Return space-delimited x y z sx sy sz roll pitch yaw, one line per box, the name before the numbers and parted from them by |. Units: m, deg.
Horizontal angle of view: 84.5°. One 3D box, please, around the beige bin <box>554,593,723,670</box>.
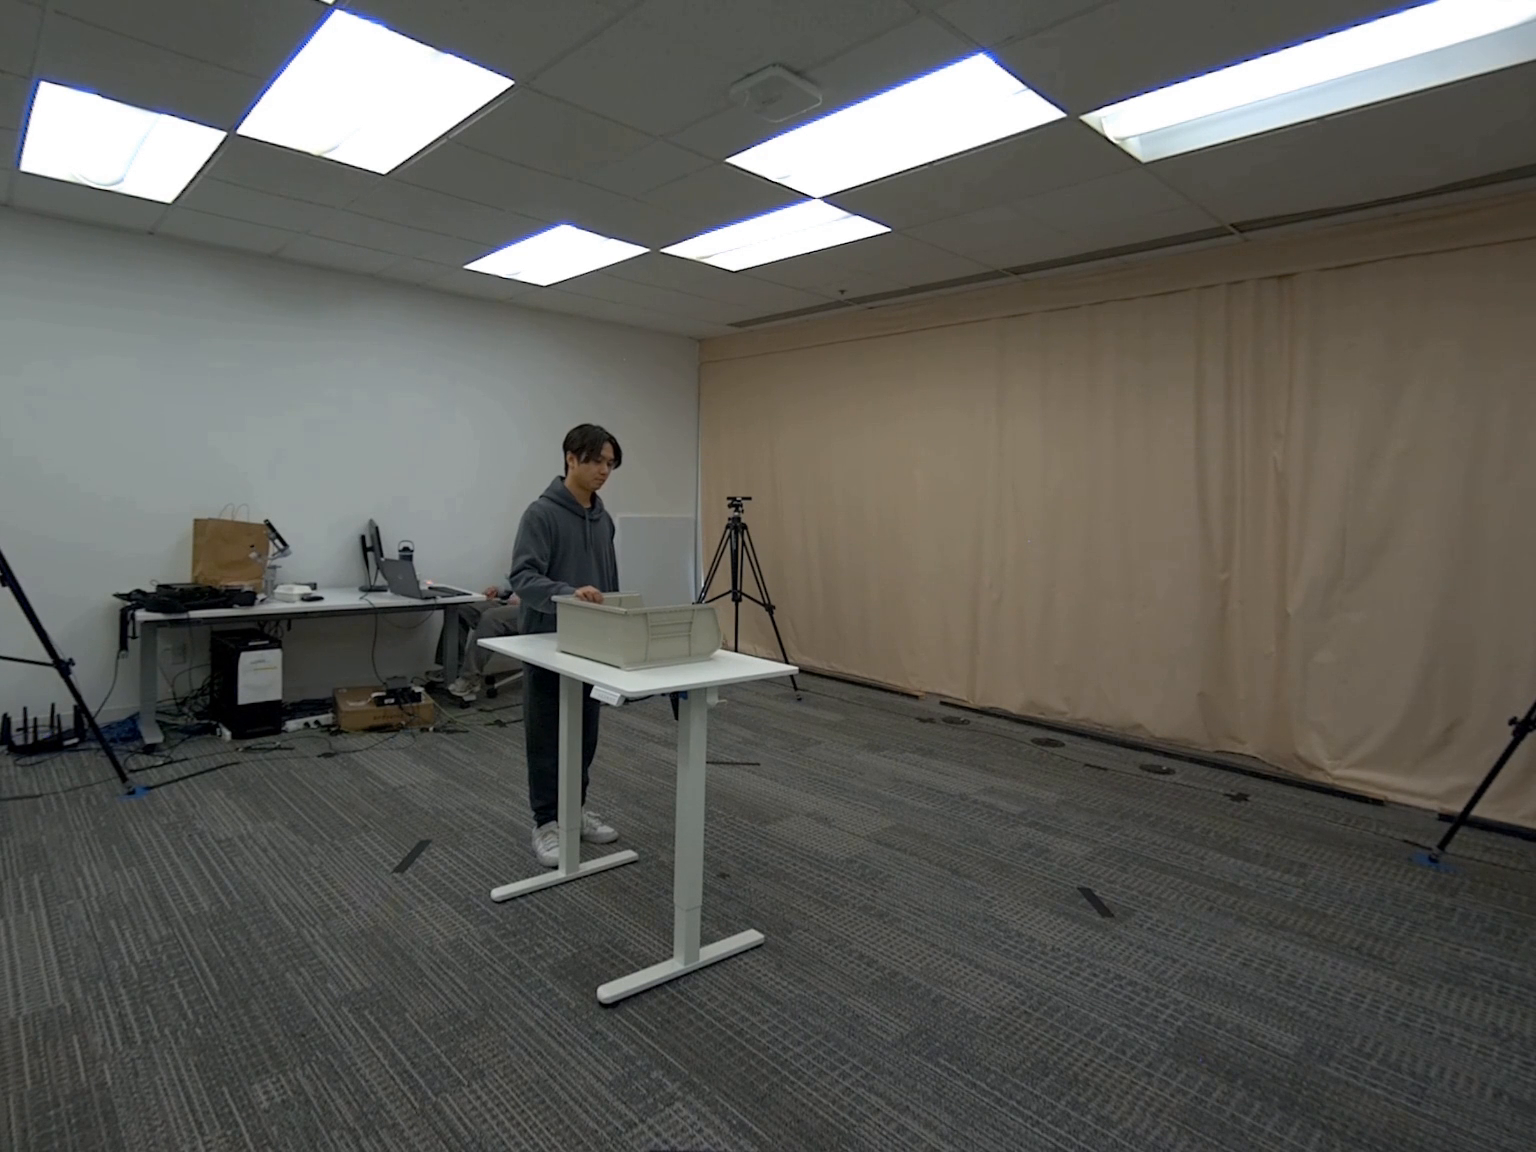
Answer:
beige bin | -0.423 0.167 2.679 0.369 0.188 0.433 -3 7 -42
